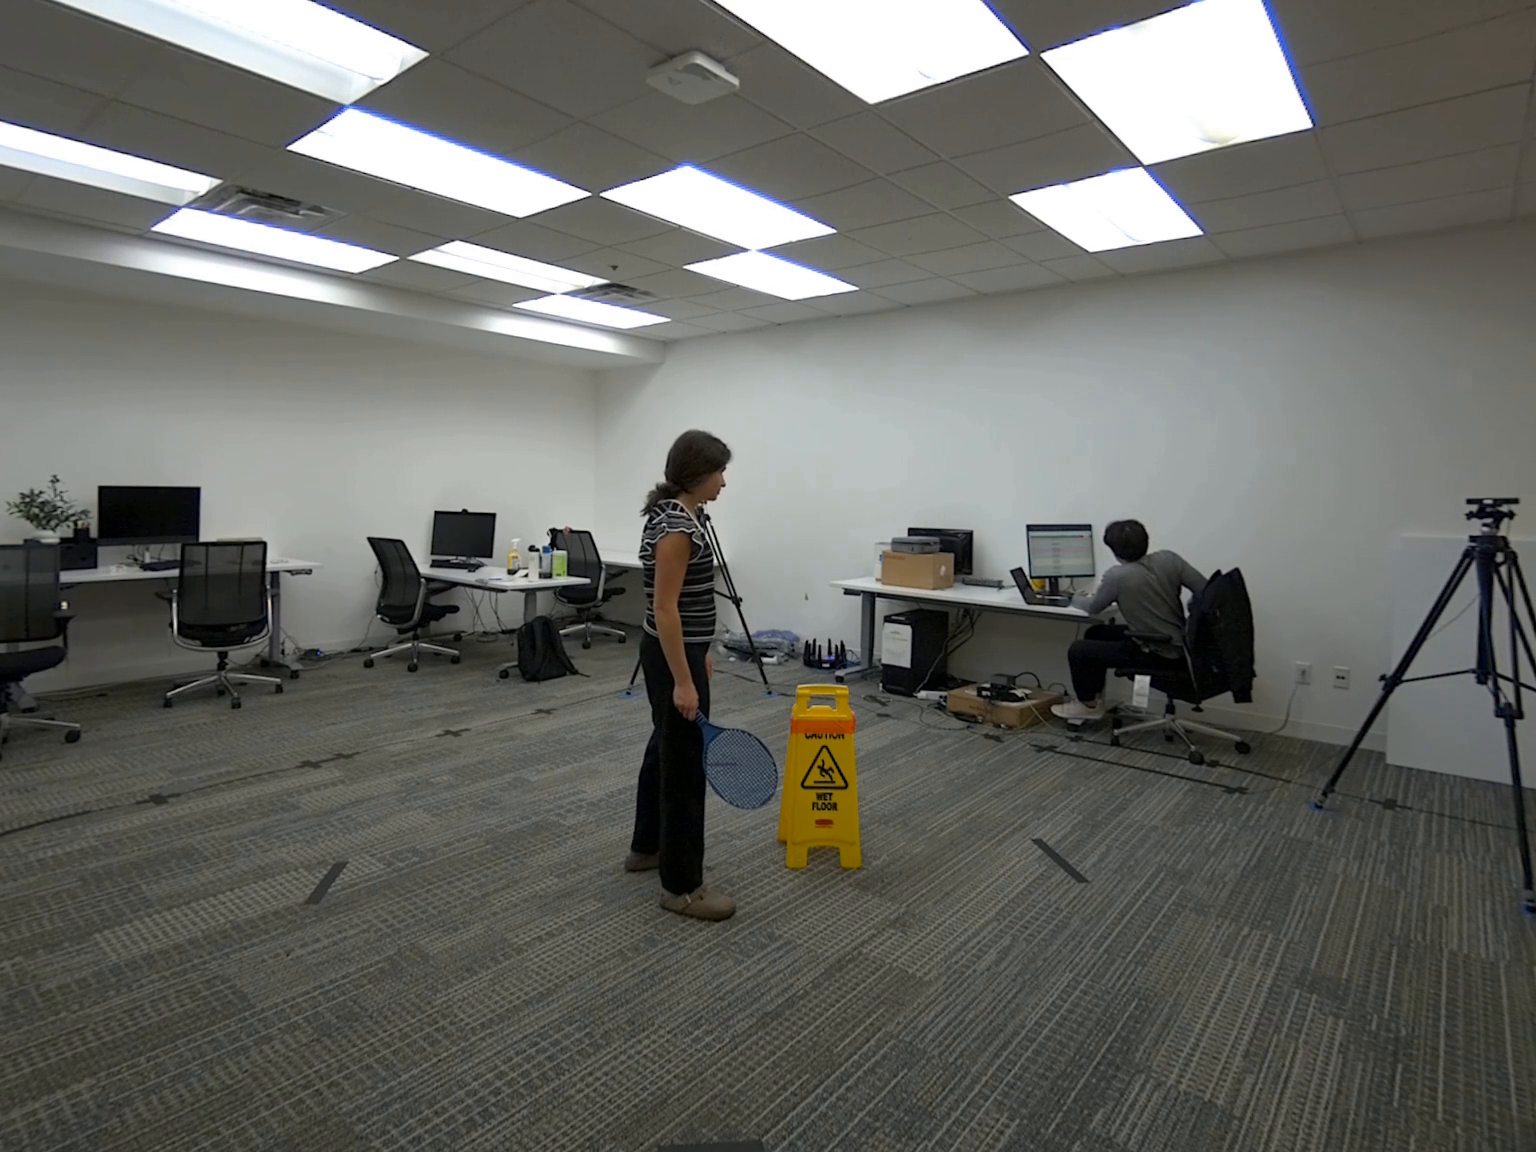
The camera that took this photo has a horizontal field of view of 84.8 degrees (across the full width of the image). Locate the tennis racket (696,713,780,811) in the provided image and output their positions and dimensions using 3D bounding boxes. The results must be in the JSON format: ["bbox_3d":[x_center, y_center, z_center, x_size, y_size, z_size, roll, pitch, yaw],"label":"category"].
[{"bbox_3d":[-0.150,0.543,2.705,0.213,0.440,0.031,-38,-12,-9],"label":"tennis racket"}]
